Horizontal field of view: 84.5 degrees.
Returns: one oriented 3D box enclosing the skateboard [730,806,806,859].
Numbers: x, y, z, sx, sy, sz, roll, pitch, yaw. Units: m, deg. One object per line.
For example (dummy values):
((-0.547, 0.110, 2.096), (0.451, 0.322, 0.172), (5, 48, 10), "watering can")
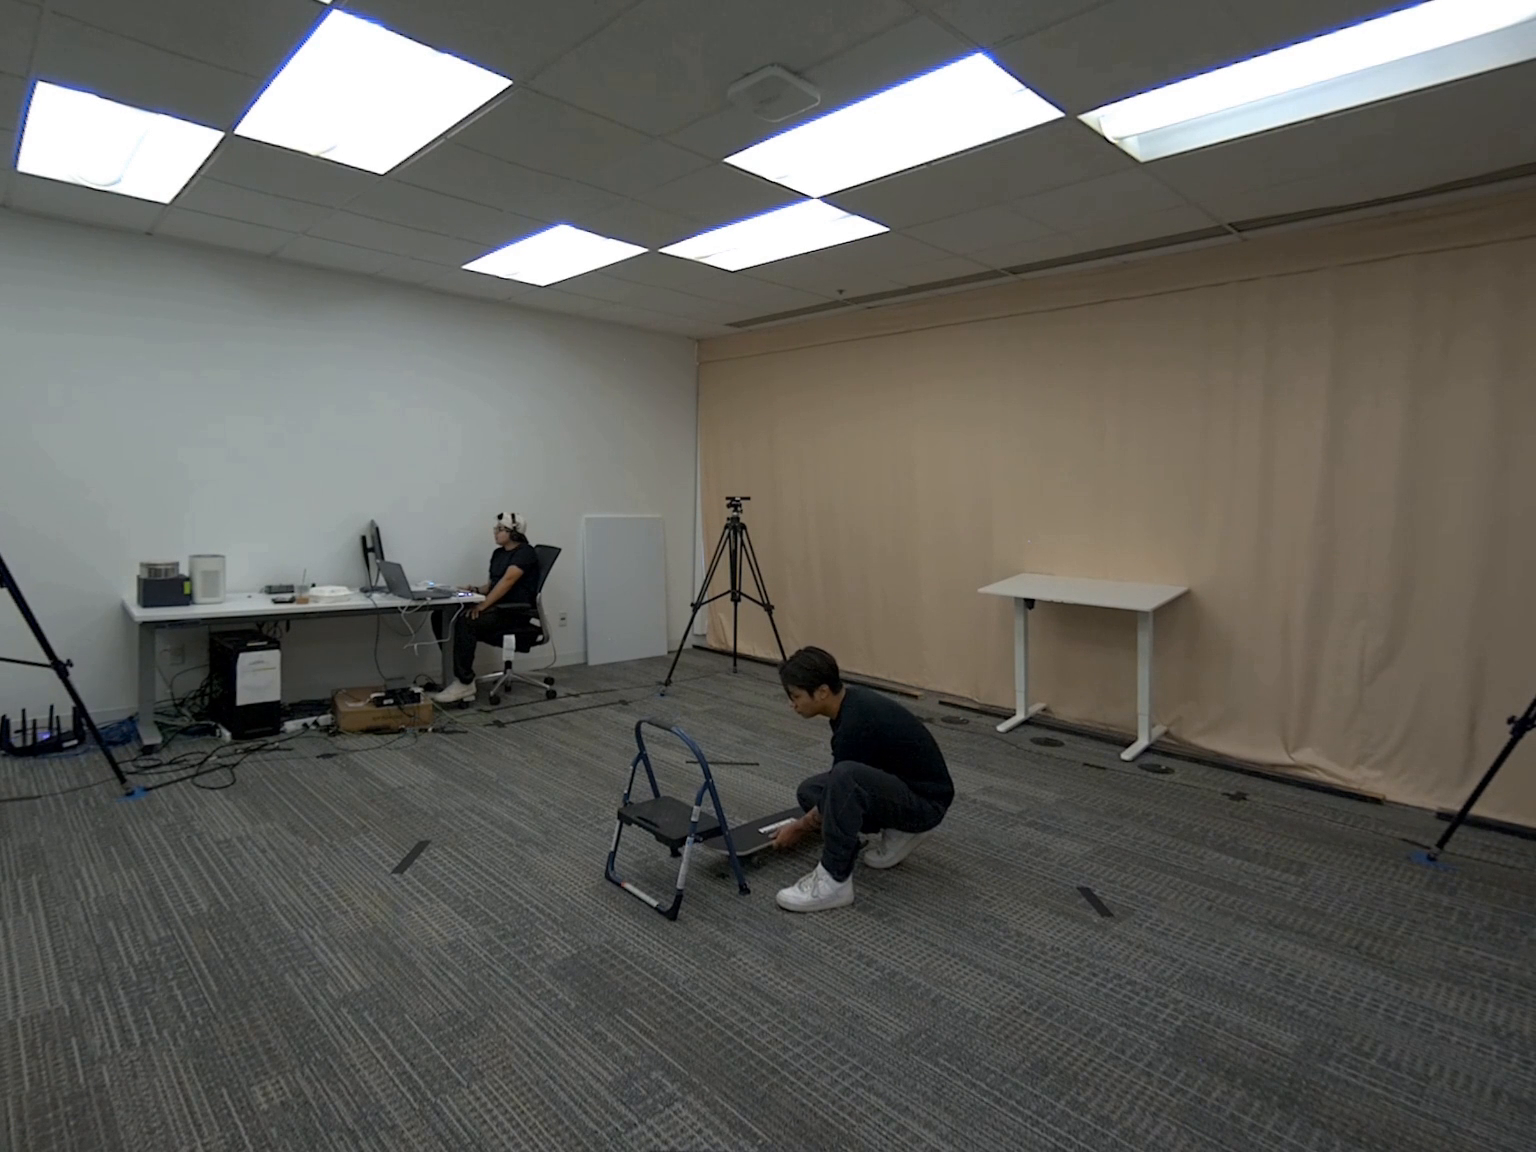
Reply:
((0.038, 1.028, 3.362), (0.767, 0.110, 0.198), (-3, 6, -45), "skateboard")
